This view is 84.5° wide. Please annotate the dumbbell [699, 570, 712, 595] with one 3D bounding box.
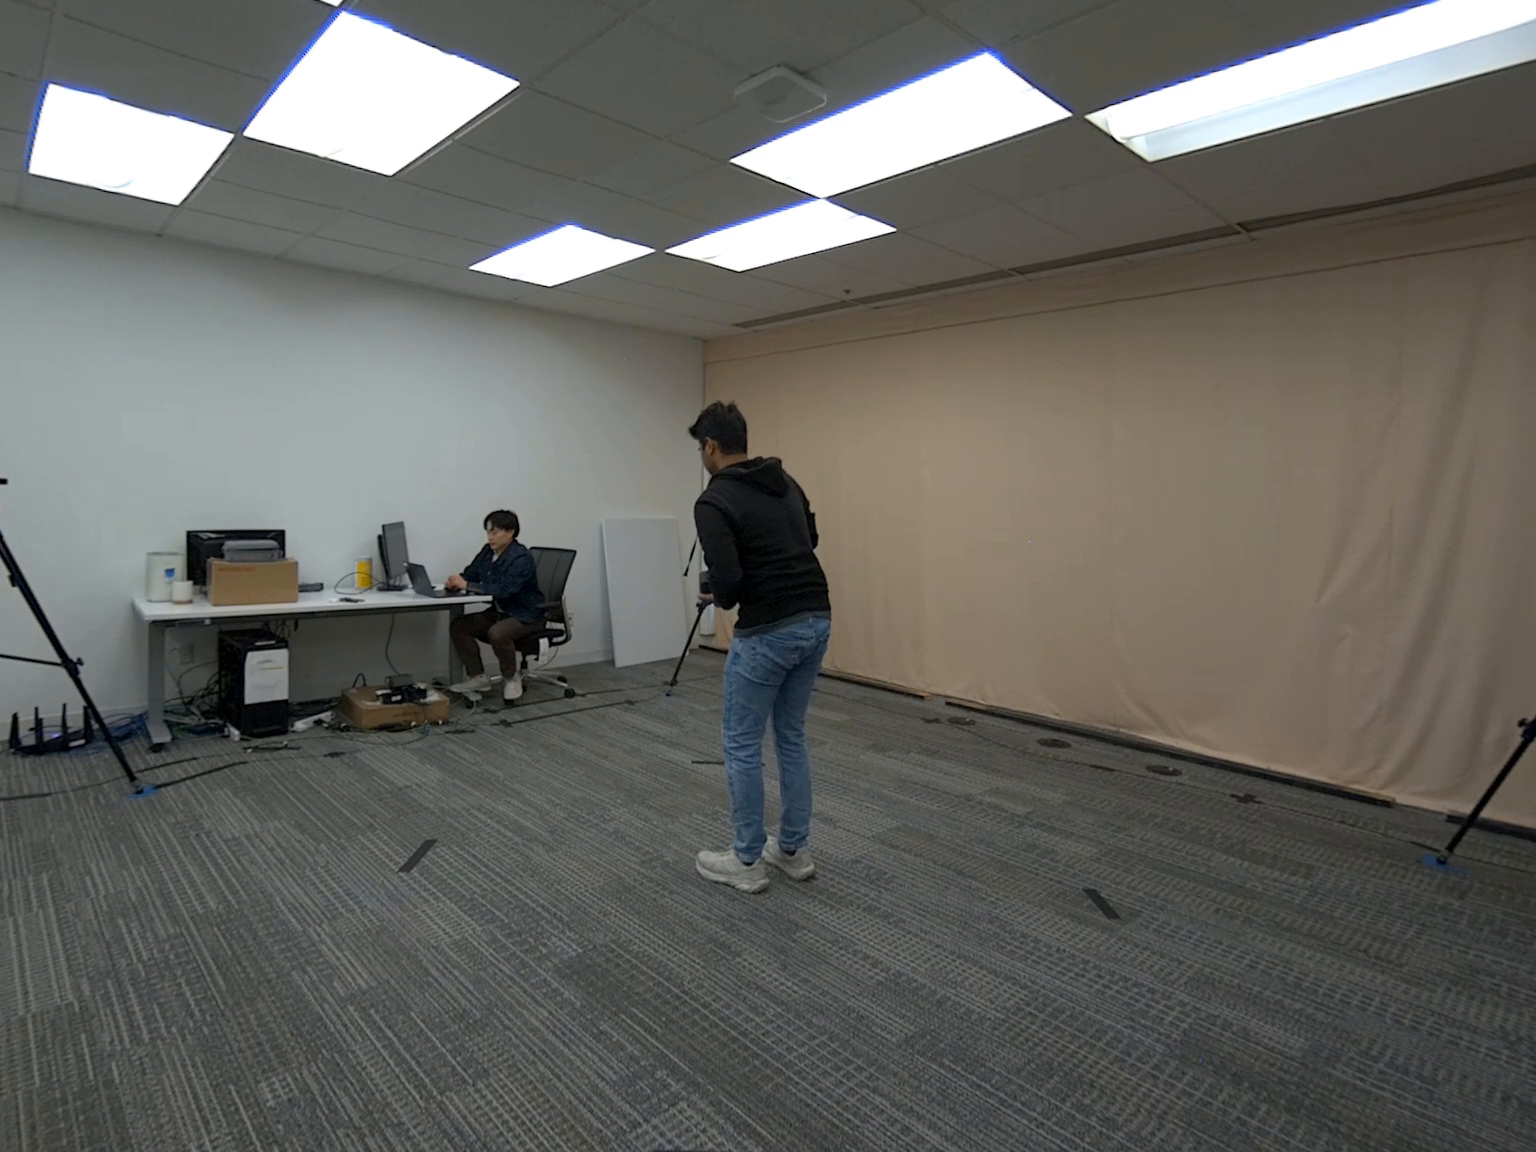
[{"bbox_3d":[-0.108,0.063,3.166,0.293,0.106,0.126,-2,36,-3],"label":"dumbbell"}]
